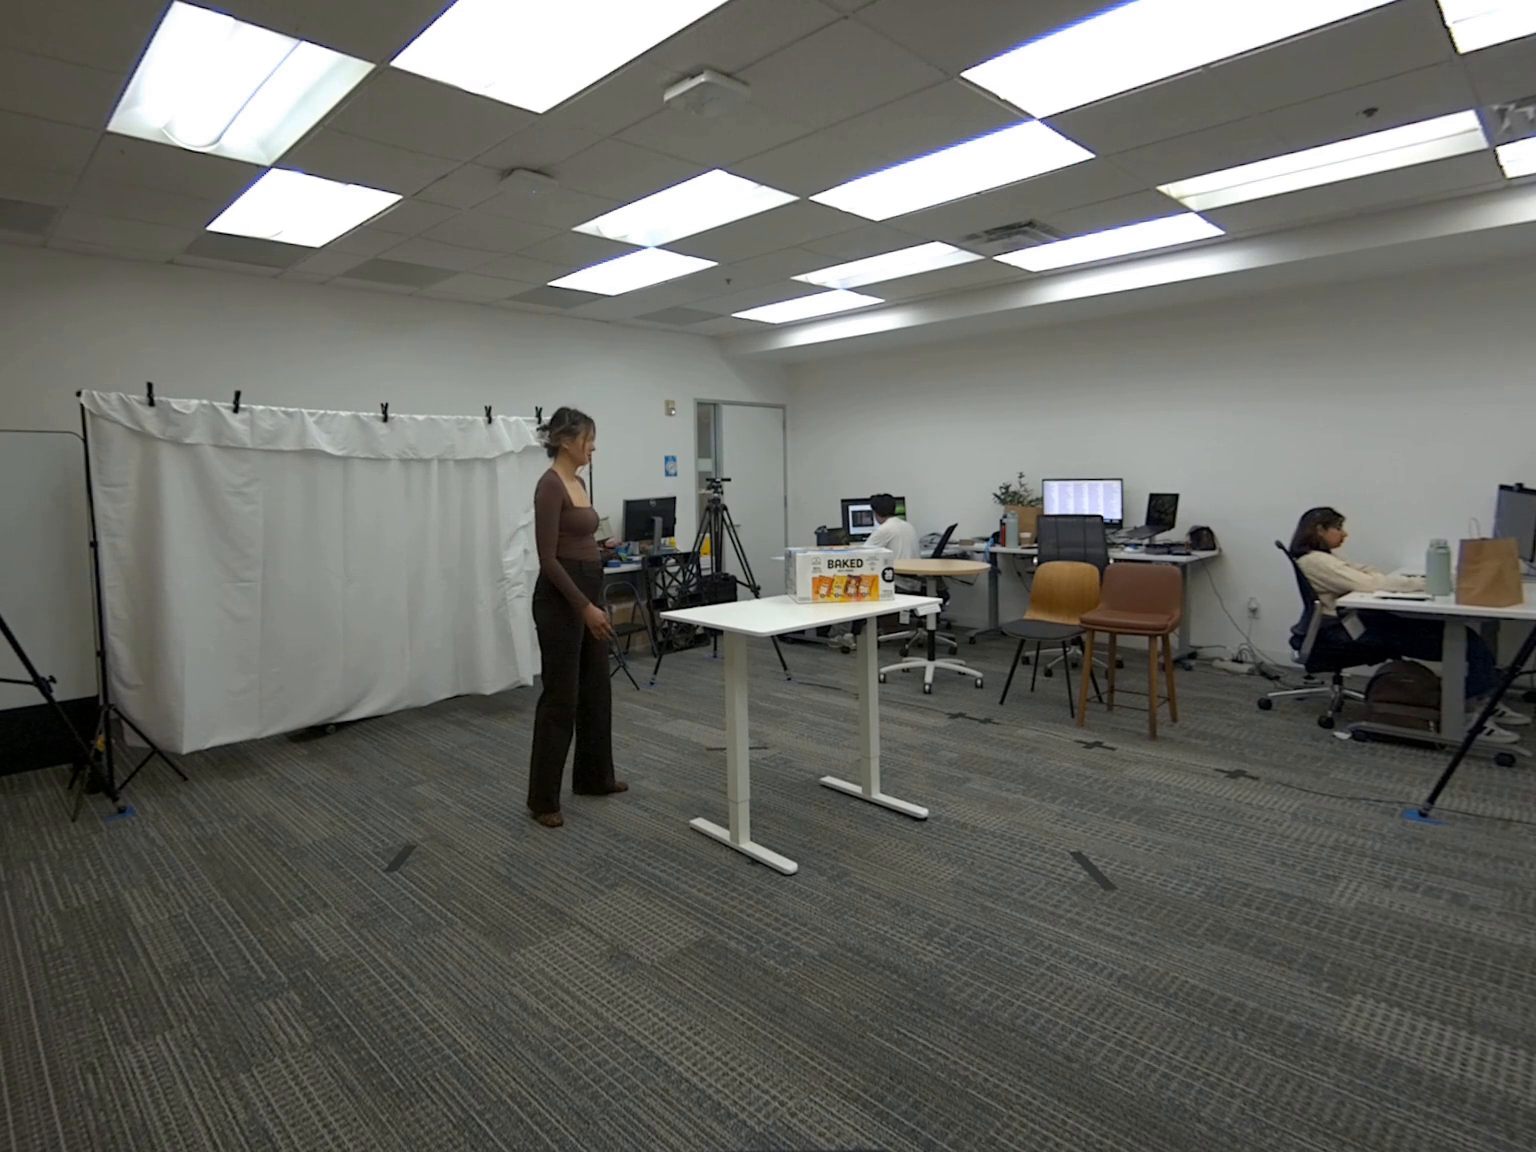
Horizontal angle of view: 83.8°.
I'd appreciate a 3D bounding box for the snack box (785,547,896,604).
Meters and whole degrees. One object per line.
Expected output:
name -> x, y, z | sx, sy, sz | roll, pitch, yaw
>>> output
snack box -> 0.295, -0.012, 3.643 | 0.403, 0.205, 0.343 | -2, 5, -5
